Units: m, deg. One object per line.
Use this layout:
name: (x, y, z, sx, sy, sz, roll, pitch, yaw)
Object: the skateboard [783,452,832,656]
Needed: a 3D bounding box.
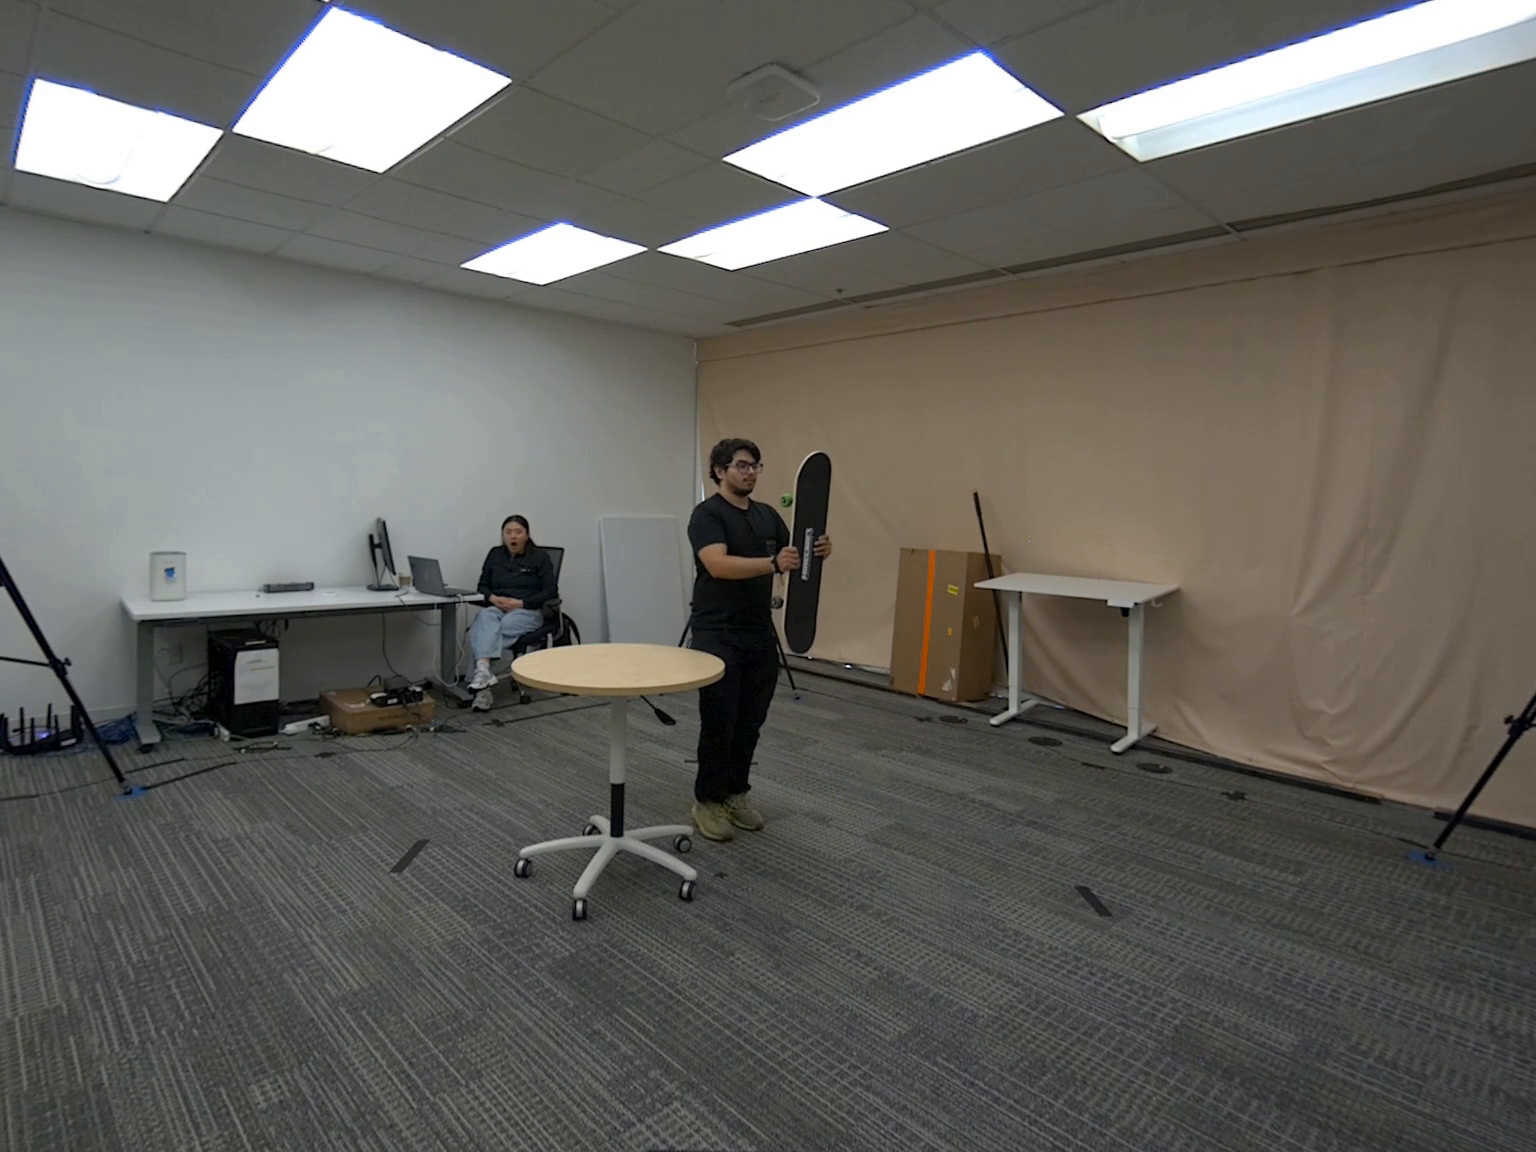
skateboard: (0.124, -0.089, 3.270, 0.189, 0.781, 0.113, -3, 10, -43)
